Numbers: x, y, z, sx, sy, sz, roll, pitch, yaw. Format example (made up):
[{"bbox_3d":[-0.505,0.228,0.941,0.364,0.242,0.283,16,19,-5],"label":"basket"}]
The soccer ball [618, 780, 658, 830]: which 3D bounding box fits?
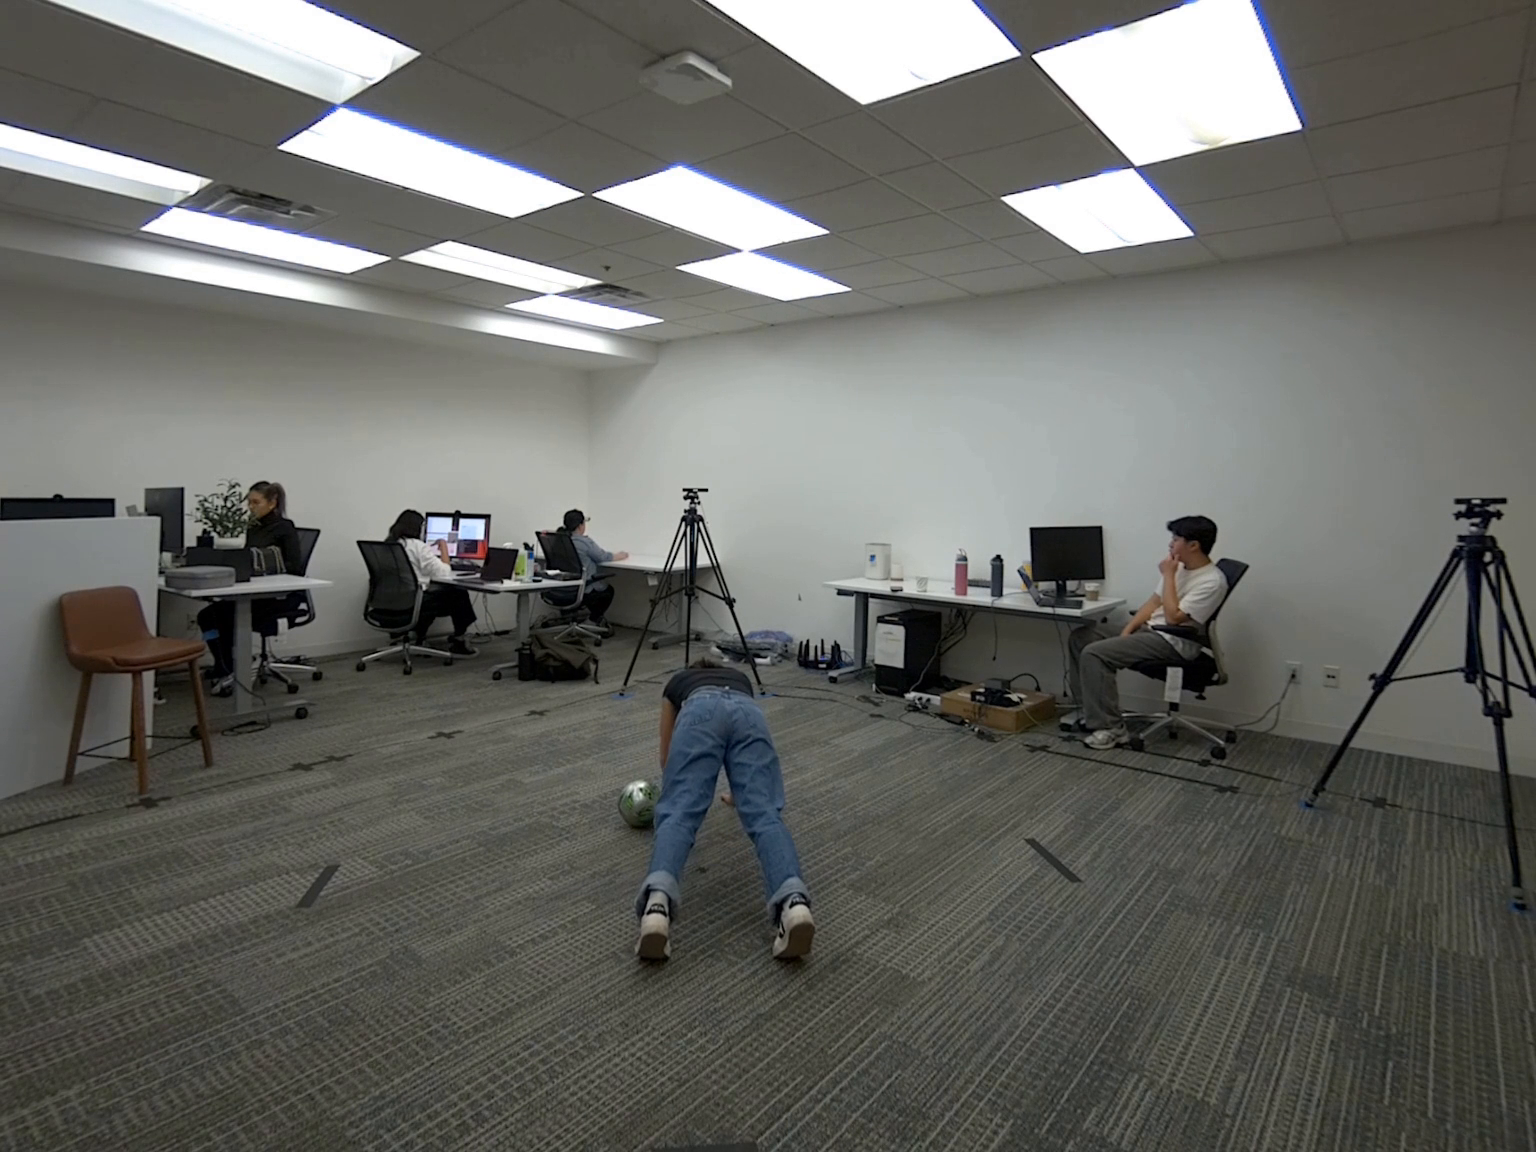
[{"bbox_3d":[-0.528,0.922,3.511,0.187,0.187,0.188,1,4,-2],"label":"soccer ball"}]
